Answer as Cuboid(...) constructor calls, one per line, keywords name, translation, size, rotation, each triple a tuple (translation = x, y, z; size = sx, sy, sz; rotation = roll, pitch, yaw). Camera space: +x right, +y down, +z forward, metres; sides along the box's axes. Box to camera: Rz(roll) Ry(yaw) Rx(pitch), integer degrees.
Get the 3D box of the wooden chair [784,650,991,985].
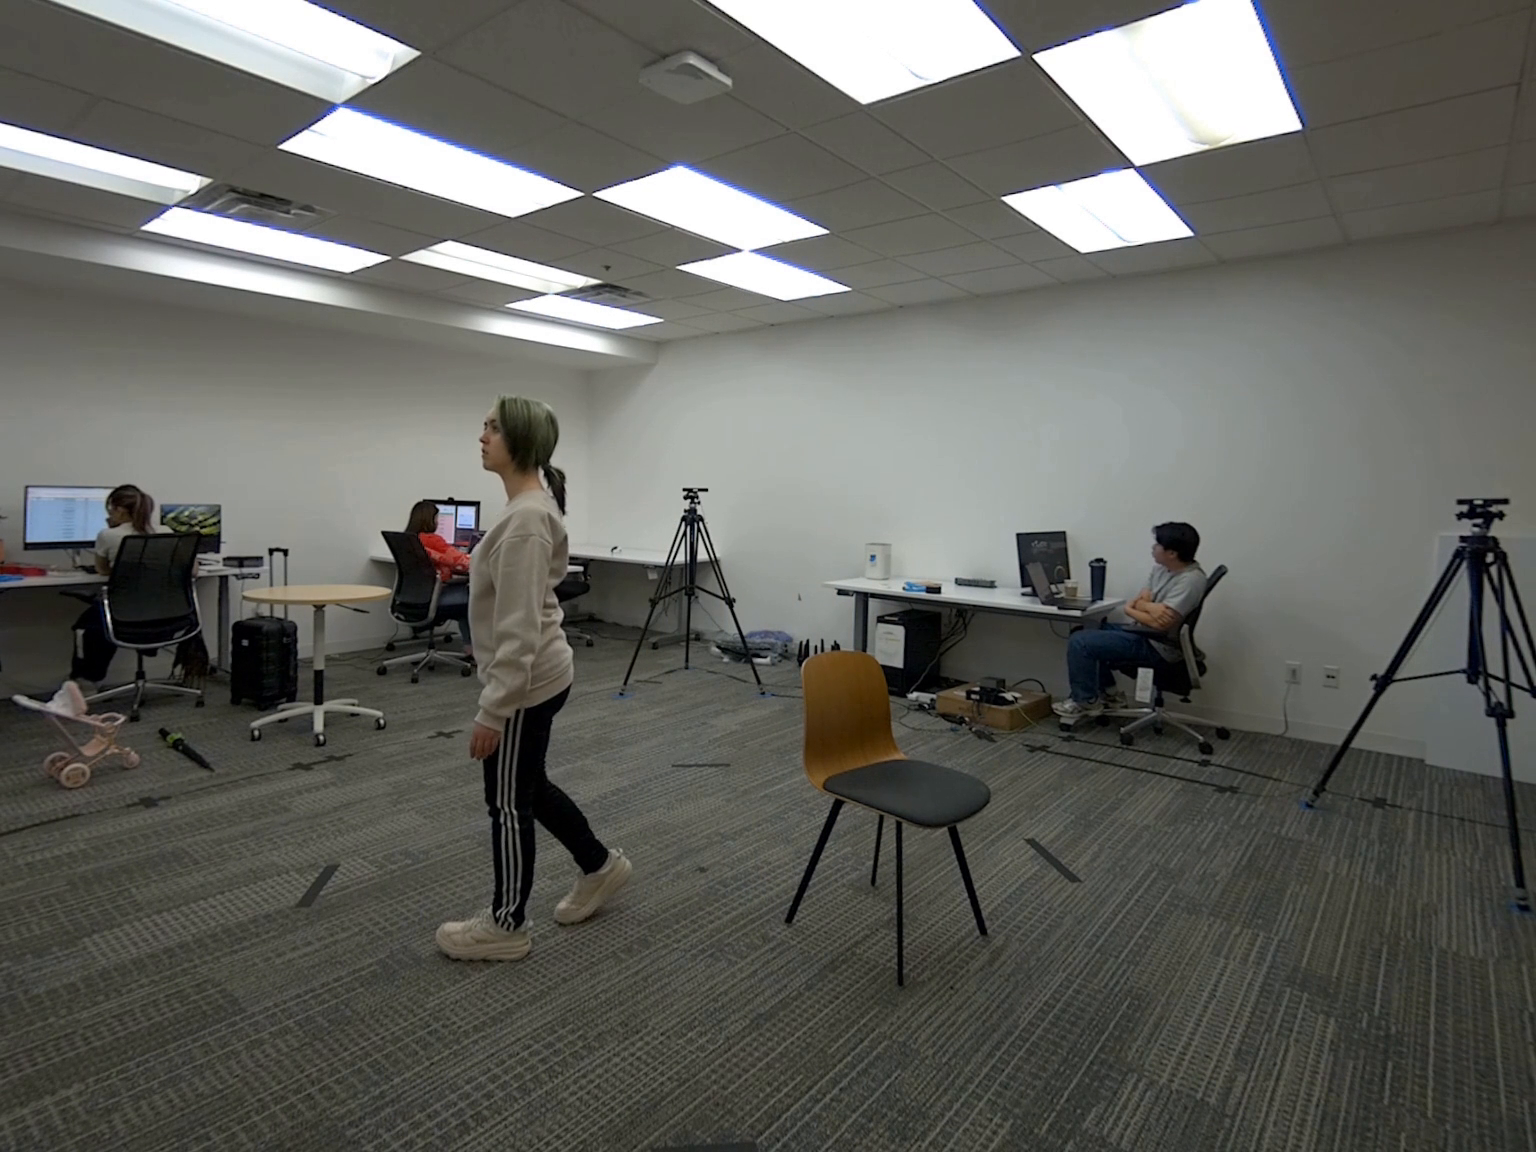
Cuboid(name="wooden chair", translation=(0.386, 0.700, 2.674), size=(0.463, 0.878, 0.539), rotation=(-1, 0, -43))
